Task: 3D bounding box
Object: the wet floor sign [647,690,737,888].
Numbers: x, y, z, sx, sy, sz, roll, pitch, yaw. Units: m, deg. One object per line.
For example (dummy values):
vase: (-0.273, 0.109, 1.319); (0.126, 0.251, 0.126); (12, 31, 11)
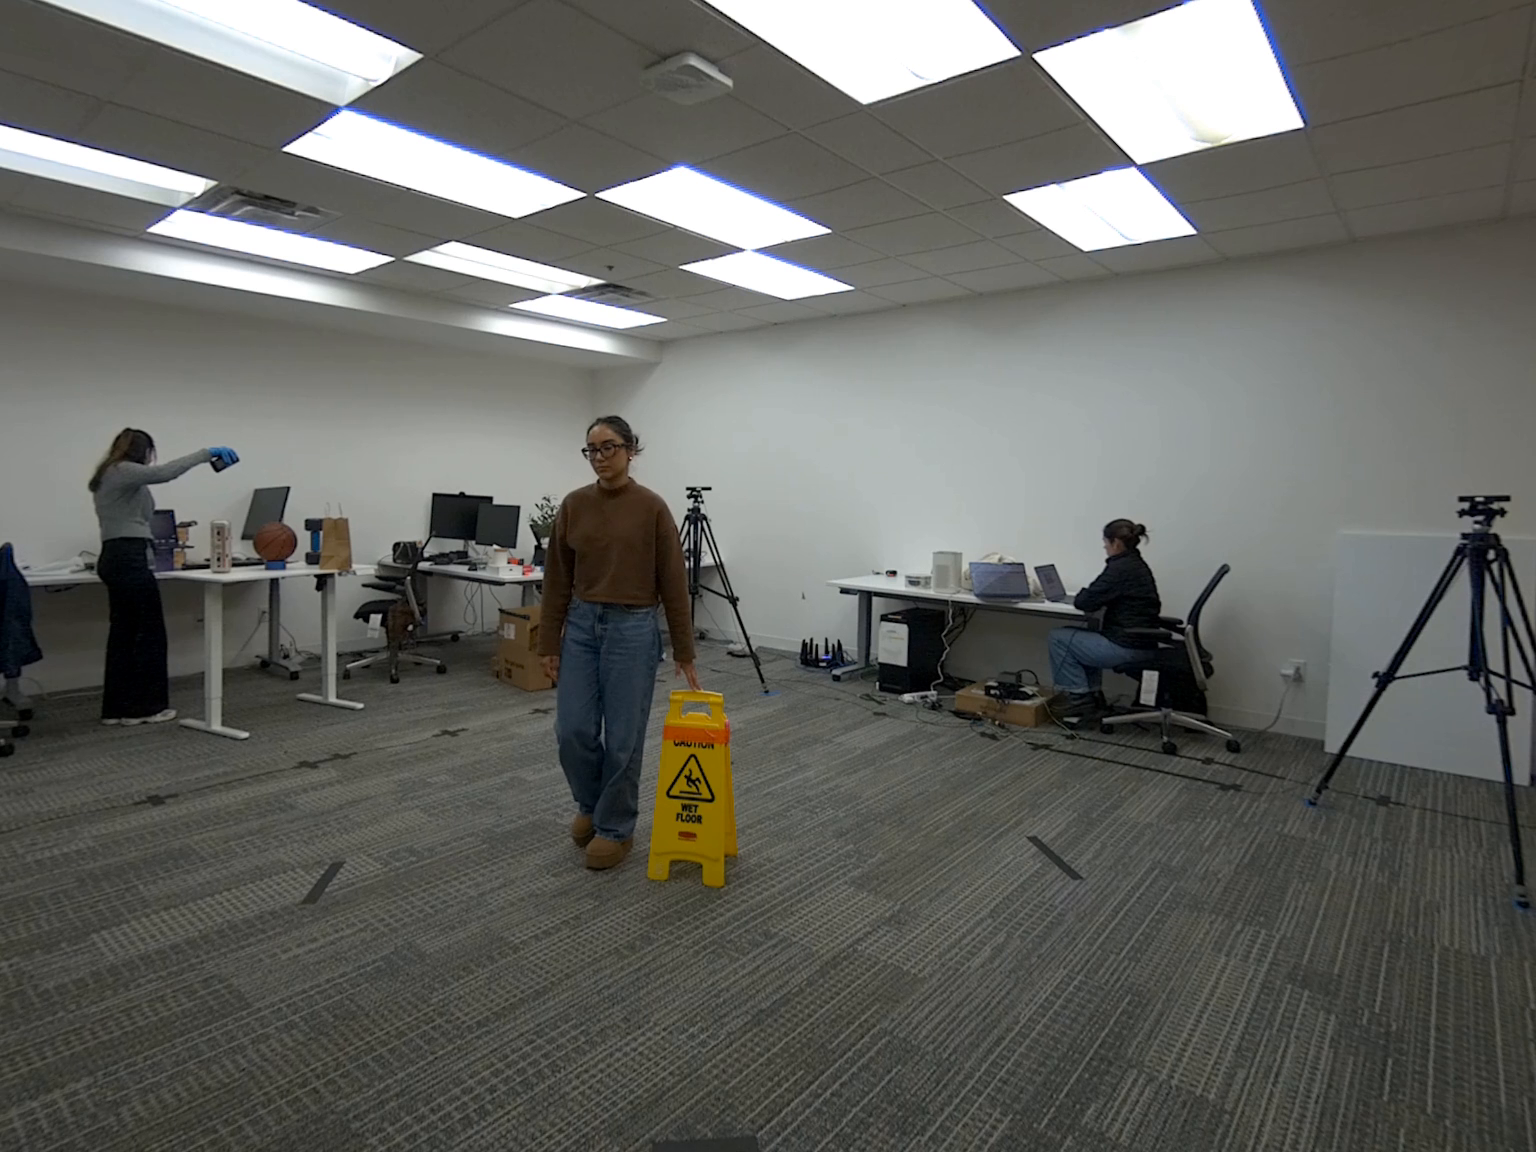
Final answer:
wet floor sign: (-0.274, 0.743, 3.098); (0.285, 0.644, 0.287); (1, 4, 10)
